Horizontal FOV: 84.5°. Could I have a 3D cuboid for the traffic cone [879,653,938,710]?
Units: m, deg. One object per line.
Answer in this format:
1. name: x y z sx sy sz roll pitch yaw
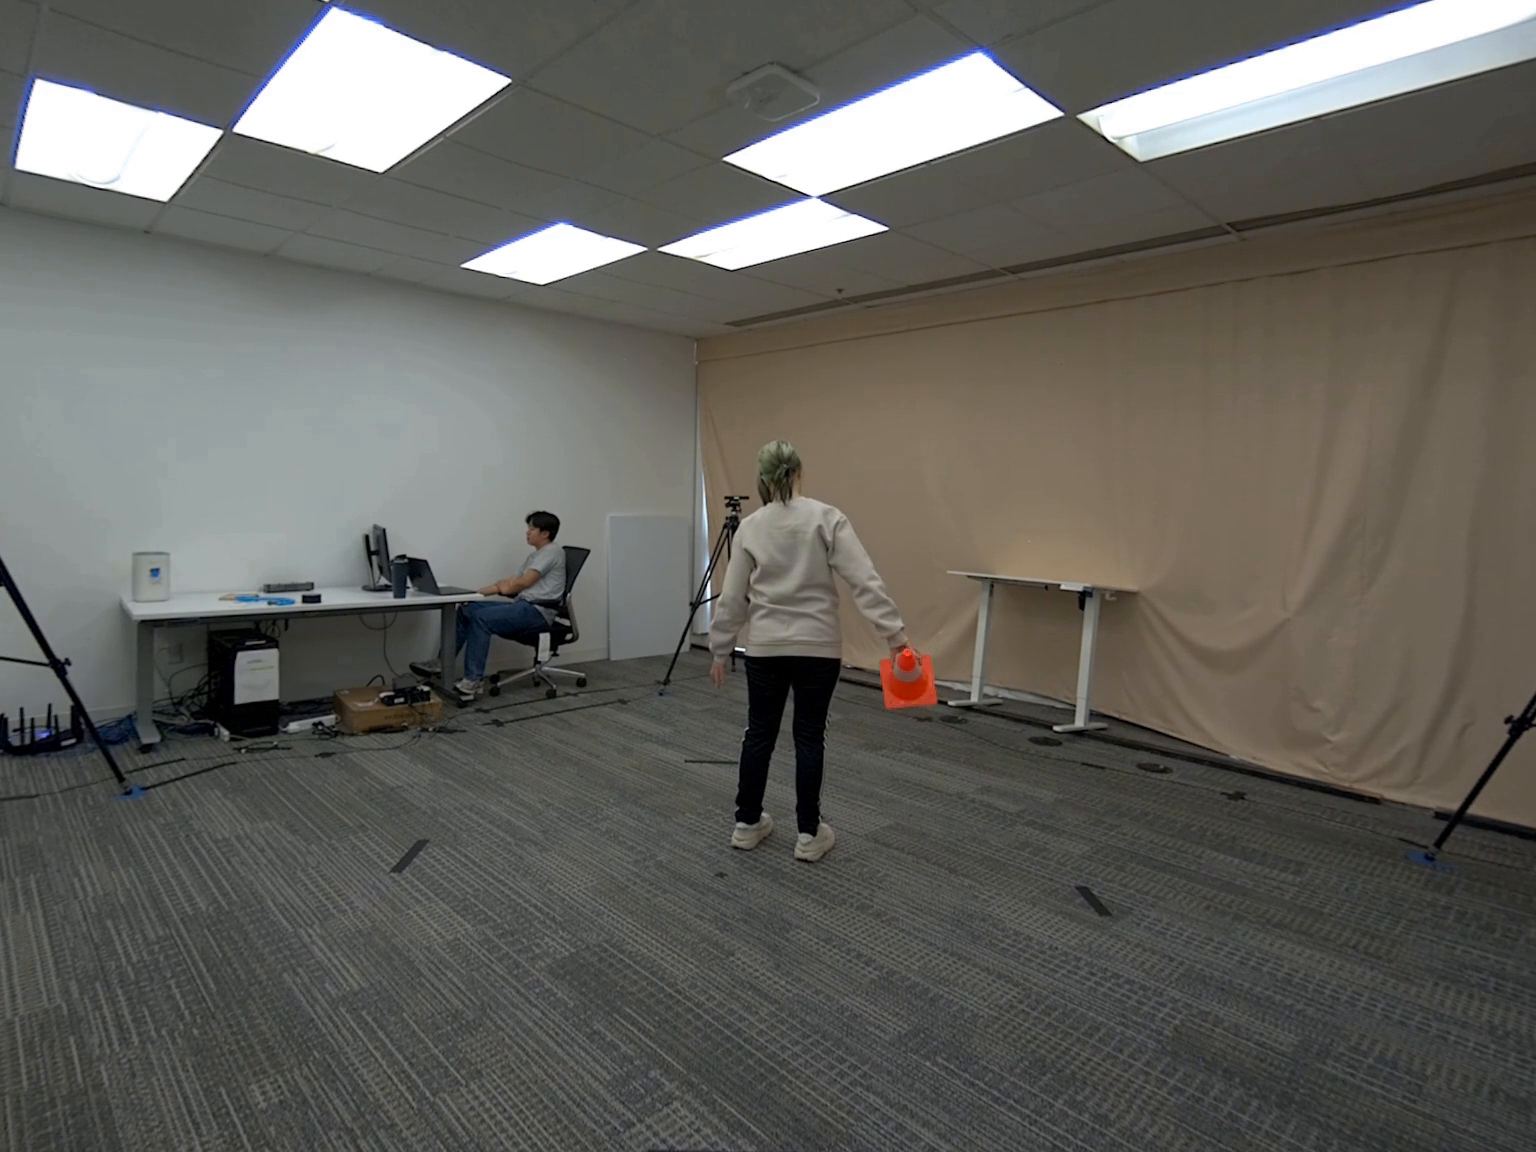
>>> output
1. traffic cone: 0.503 0.330 3.107 0.205 0.208 0.374 -2 -24 9
